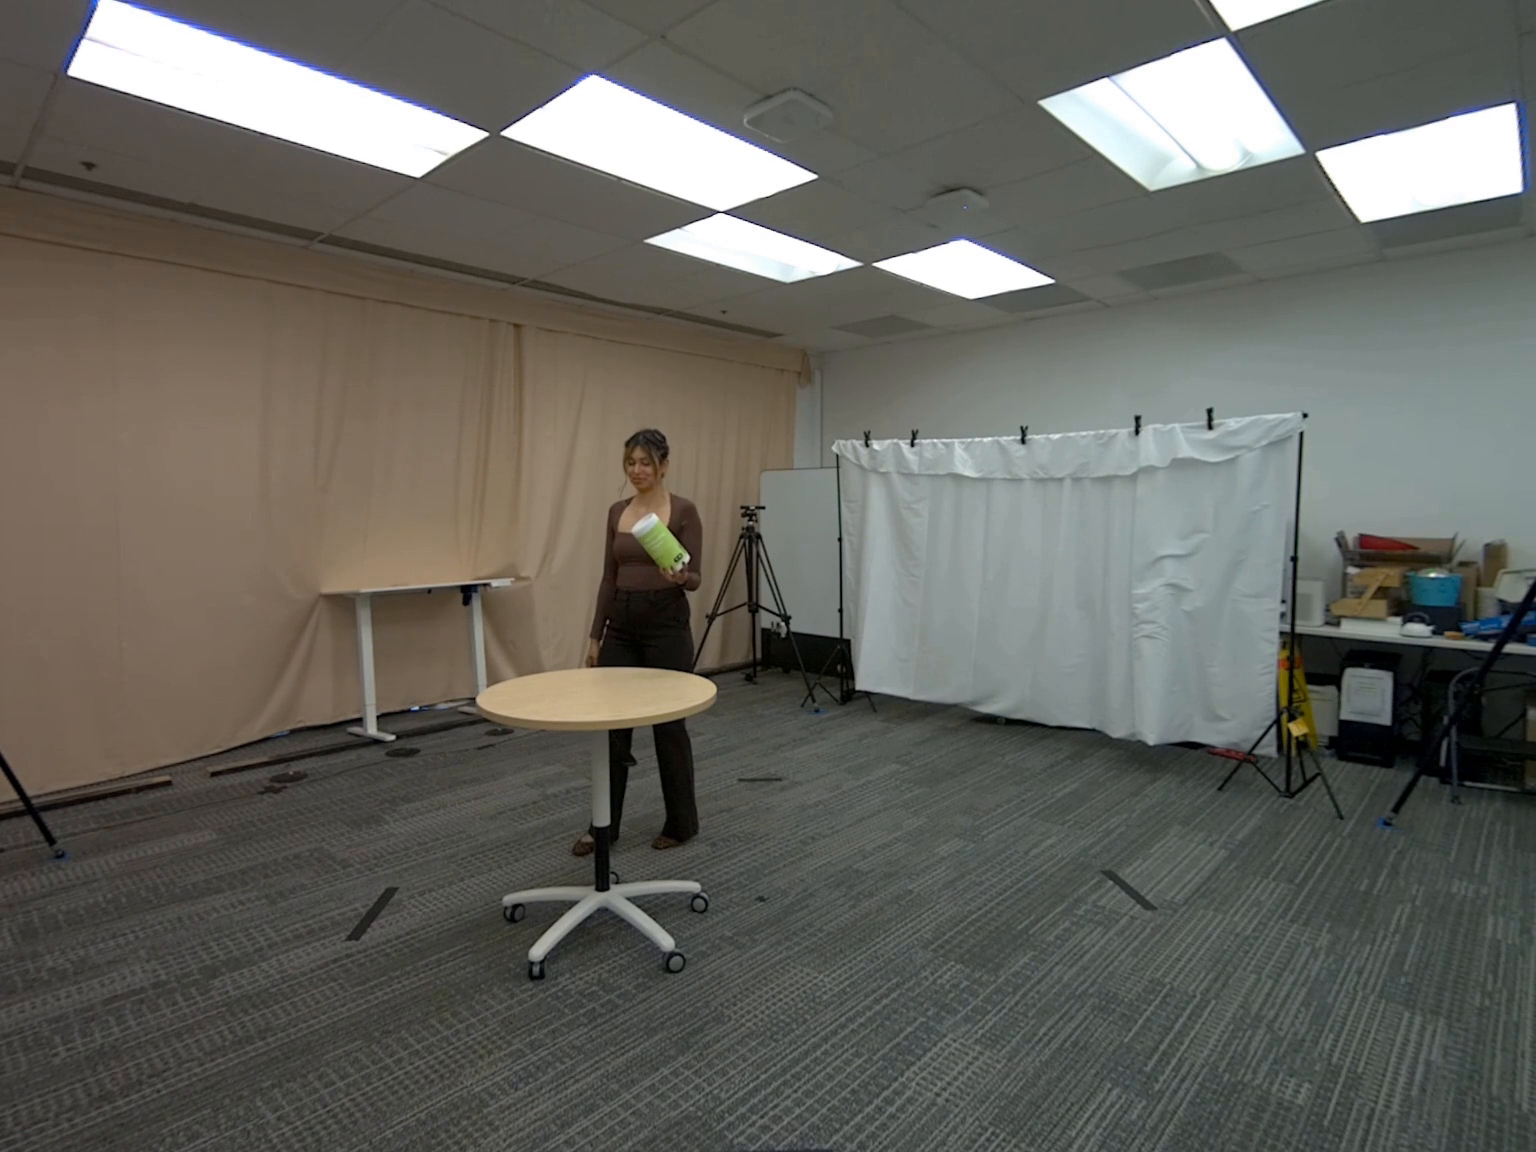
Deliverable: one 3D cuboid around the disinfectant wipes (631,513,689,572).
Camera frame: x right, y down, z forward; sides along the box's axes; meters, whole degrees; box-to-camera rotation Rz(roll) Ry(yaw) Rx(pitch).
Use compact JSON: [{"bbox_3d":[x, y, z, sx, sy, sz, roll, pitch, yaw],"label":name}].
[{"bbox_3d":[-0.388,-0.113,3.053,0.118,0.213,0.119,-33,18,11],"label":"disinfectant wipes"}]
